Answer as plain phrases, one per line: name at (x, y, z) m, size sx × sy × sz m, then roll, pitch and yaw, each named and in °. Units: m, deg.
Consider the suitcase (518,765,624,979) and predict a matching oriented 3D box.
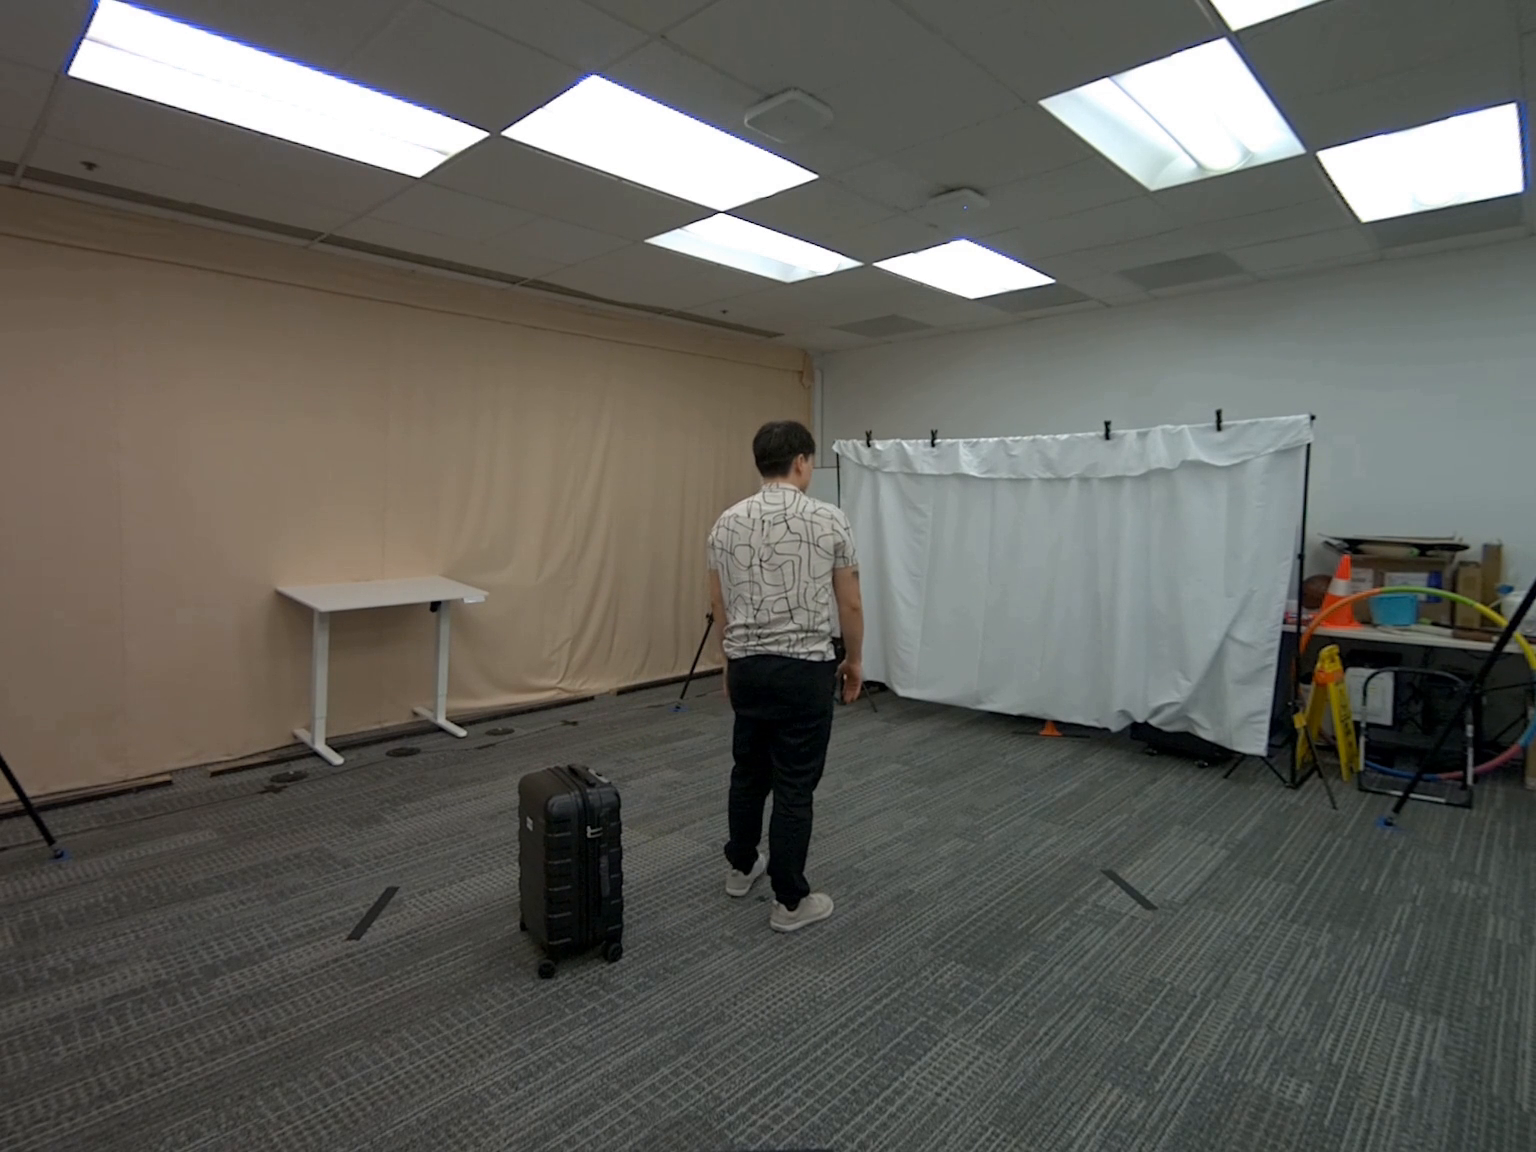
suitcase at (-0.629, 0.900, 2.665) m, size 0.242 × 0.548 × 0.386 m, roll -2°, pitch 4°, yaw -30°
